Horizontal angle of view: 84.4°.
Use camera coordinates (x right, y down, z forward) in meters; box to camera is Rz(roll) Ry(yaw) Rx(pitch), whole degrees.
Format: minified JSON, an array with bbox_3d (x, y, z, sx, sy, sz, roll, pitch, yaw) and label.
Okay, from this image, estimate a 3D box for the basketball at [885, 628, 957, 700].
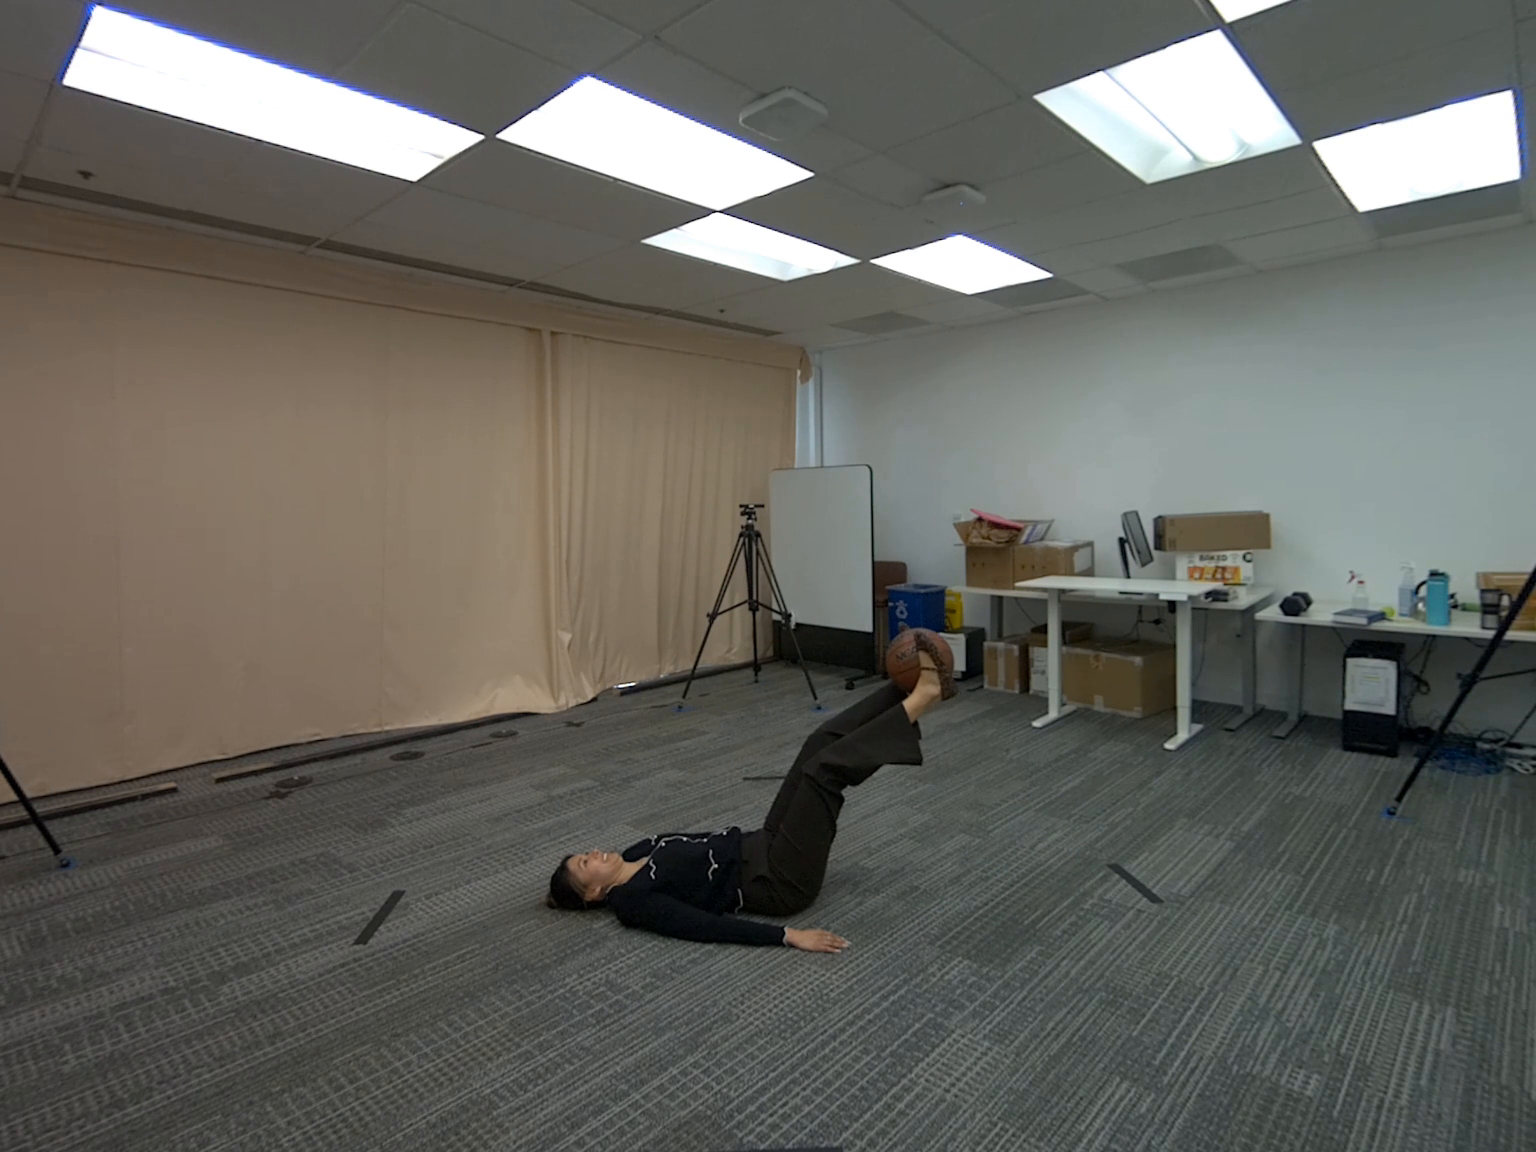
[{"bbox_3d":[0.542,0.301,2.974,0.236,0.236,0.236,0,1,-2],"label":"basketball"}]
